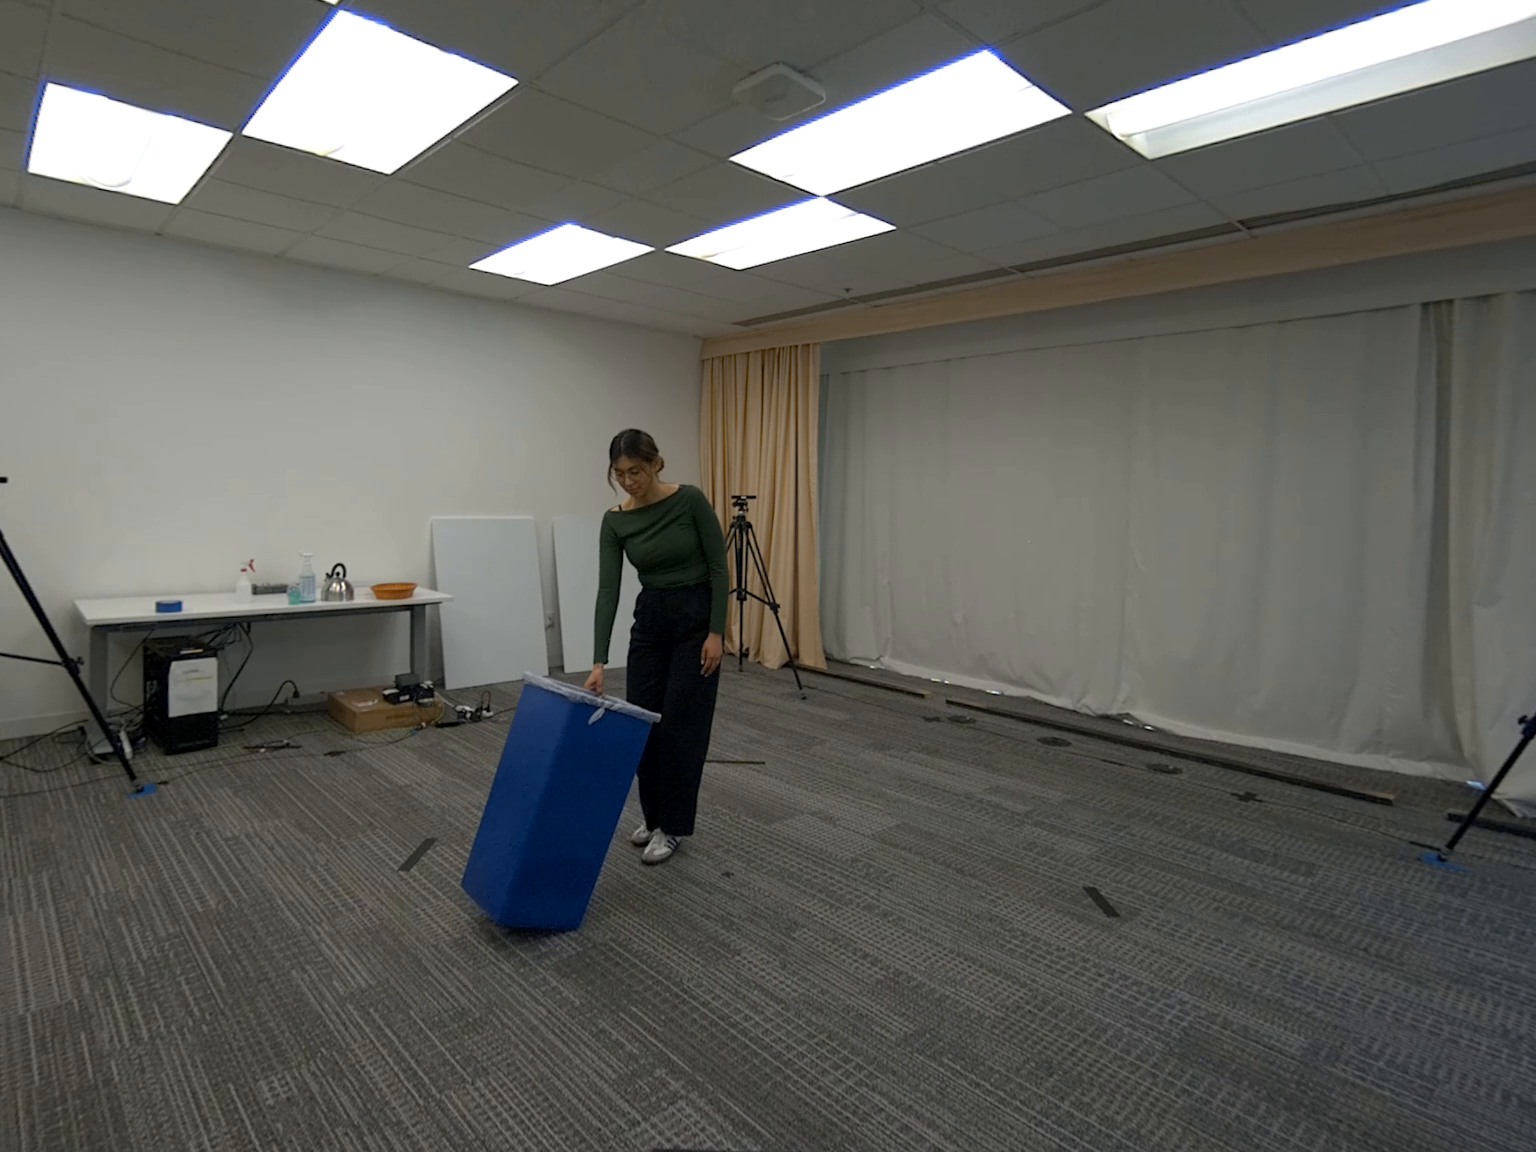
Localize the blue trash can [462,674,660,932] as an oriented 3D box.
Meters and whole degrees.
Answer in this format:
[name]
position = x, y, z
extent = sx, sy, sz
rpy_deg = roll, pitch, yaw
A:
[blue trash can]
position = -0.706, 0.733, 2.759
extent = 0.363, 0.717, 0.388
rpy_deg = 26, -13, -41
